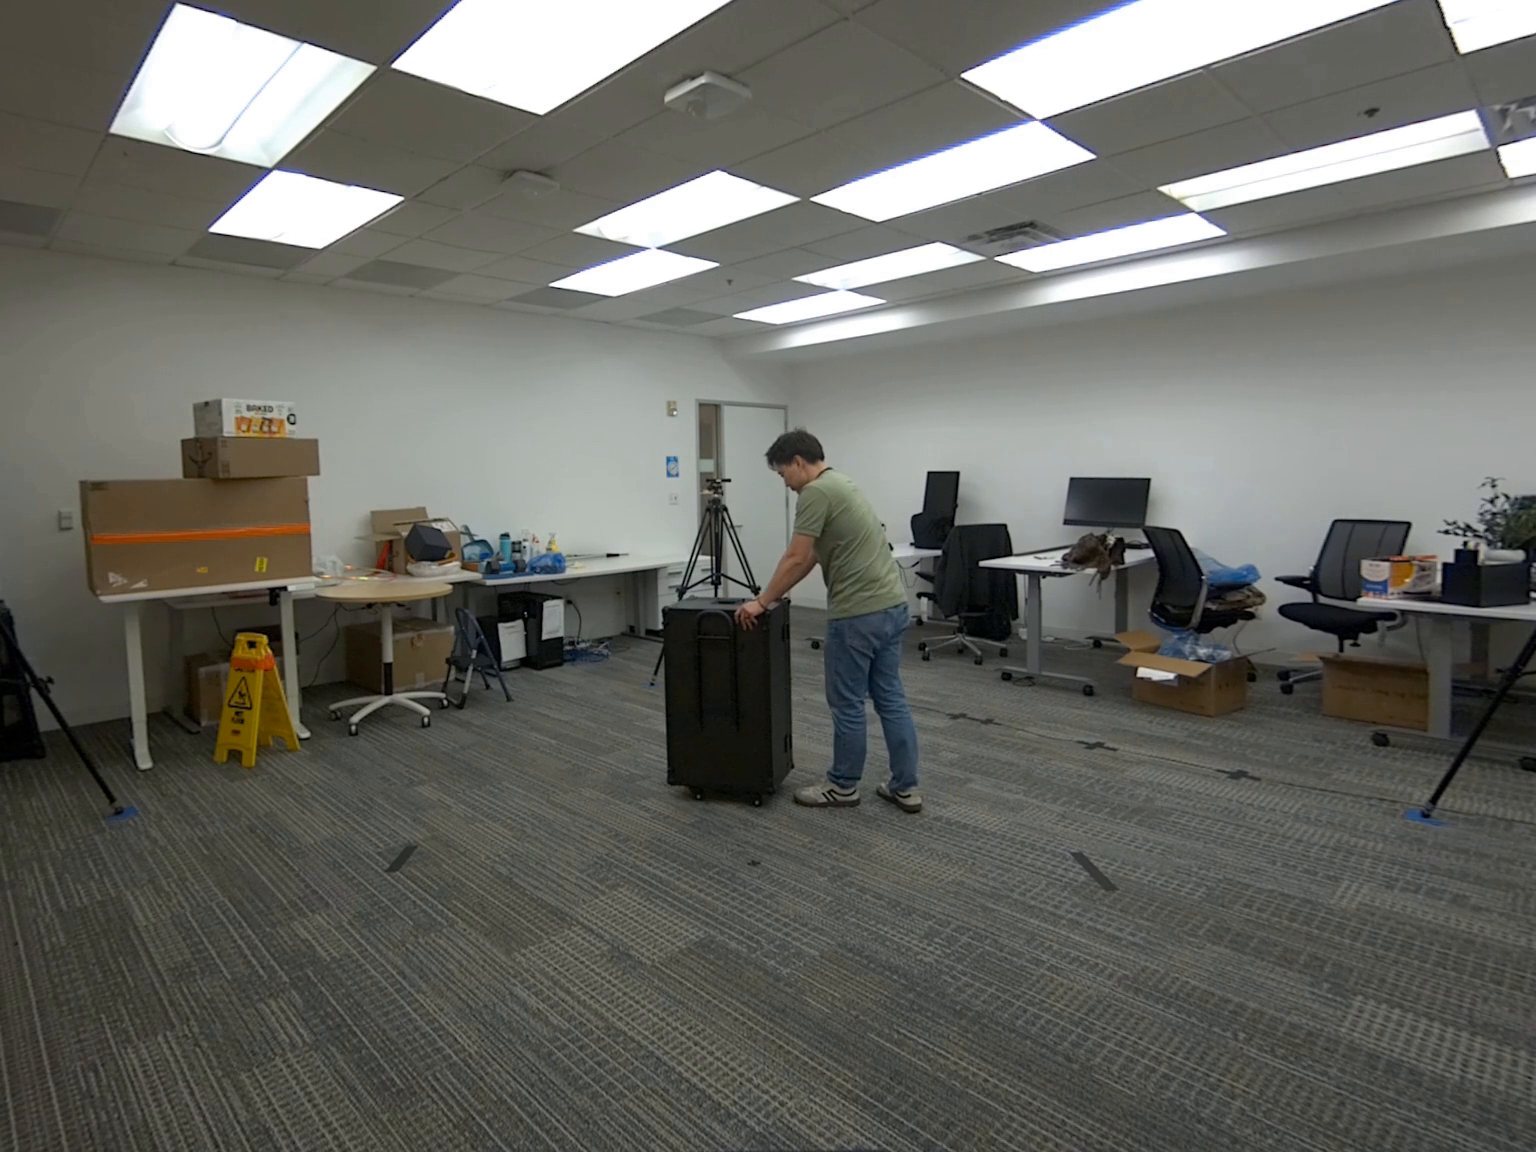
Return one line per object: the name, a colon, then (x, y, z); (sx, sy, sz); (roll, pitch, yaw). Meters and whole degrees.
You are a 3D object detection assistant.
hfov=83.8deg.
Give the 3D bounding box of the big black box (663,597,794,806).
big black box: (-0.166, 0.549, 3.794); (0.530, 0.858, 0.391); (0, 5, 18)
